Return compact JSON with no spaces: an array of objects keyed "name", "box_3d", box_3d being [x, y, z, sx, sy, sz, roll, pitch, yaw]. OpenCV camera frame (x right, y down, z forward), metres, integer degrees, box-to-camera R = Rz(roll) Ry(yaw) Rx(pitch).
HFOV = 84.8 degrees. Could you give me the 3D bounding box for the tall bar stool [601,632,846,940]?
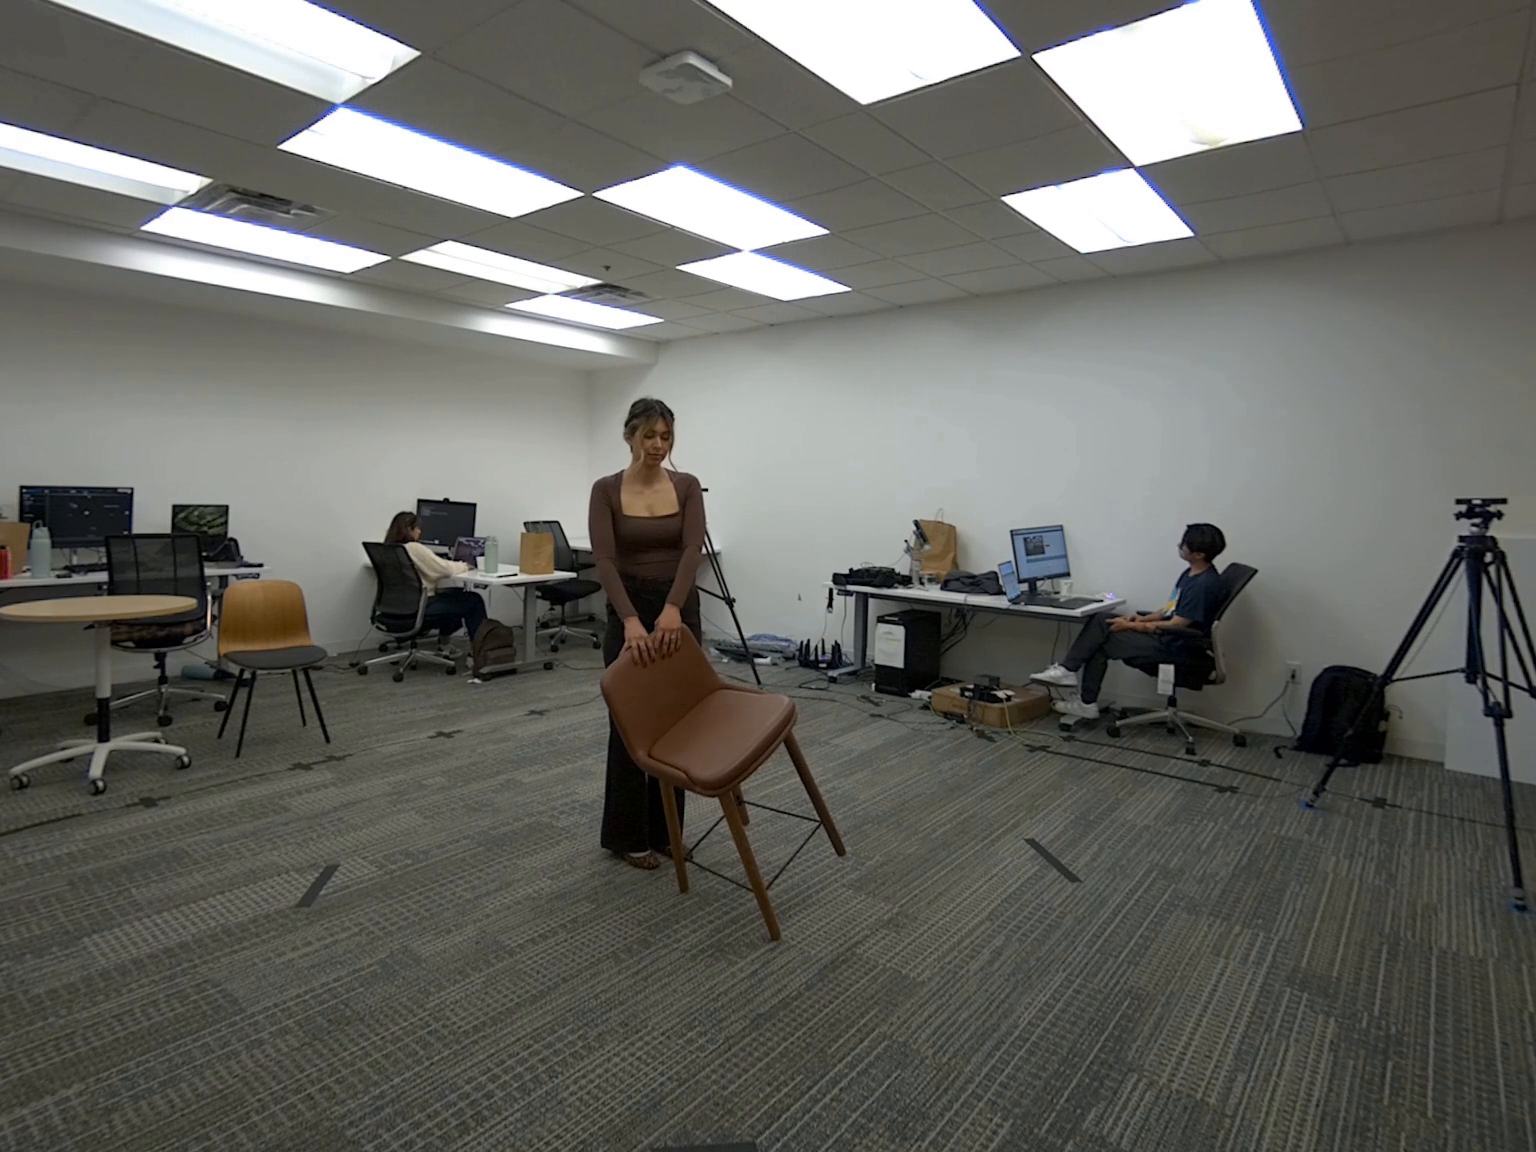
[{"name":"tall bar stool","box_3d":[-0.149,0.630,2.762,0.483,0.870,0.452,1,26,42]}]
